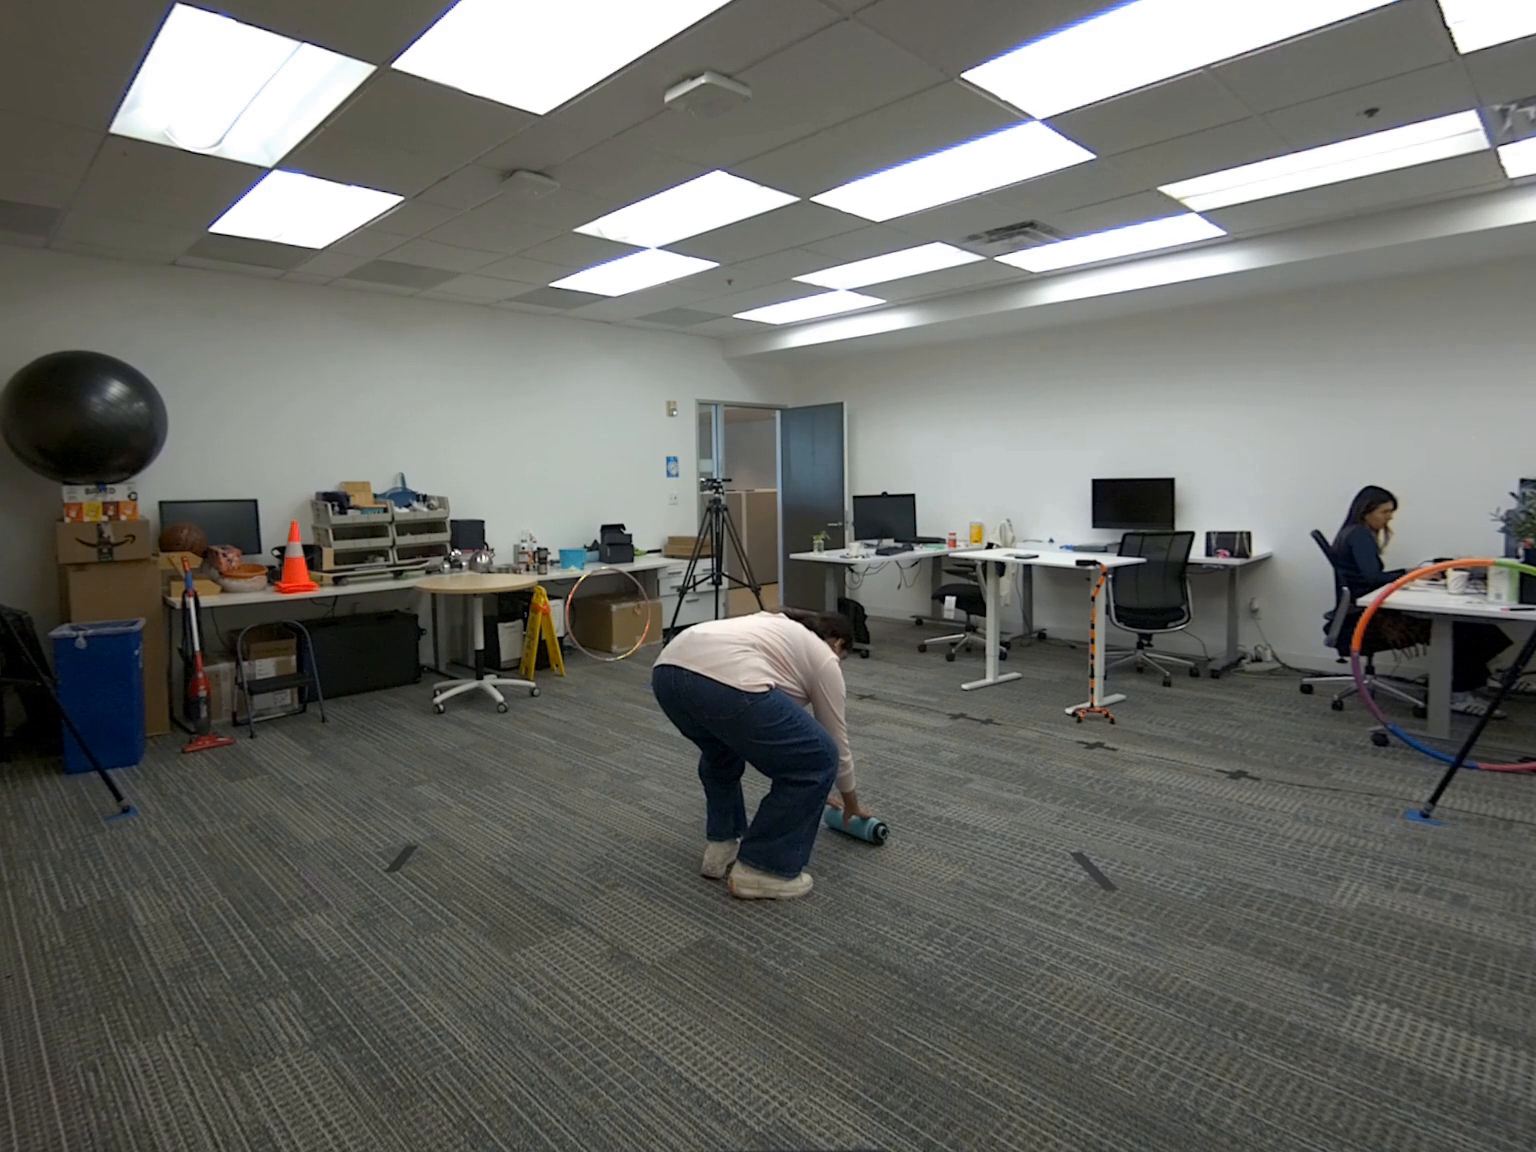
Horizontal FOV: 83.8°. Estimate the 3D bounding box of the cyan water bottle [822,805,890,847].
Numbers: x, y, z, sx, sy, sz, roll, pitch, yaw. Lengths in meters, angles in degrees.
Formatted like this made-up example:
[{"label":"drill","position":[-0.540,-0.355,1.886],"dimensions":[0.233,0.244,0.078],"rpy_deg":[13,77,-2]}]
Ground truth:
[{"label":"cyan water bottle","position":[0.344,0.963,3.321],"dimensions":[0.090,0.092,0.292],"rpy_deg":[-5,7,-41]}]
